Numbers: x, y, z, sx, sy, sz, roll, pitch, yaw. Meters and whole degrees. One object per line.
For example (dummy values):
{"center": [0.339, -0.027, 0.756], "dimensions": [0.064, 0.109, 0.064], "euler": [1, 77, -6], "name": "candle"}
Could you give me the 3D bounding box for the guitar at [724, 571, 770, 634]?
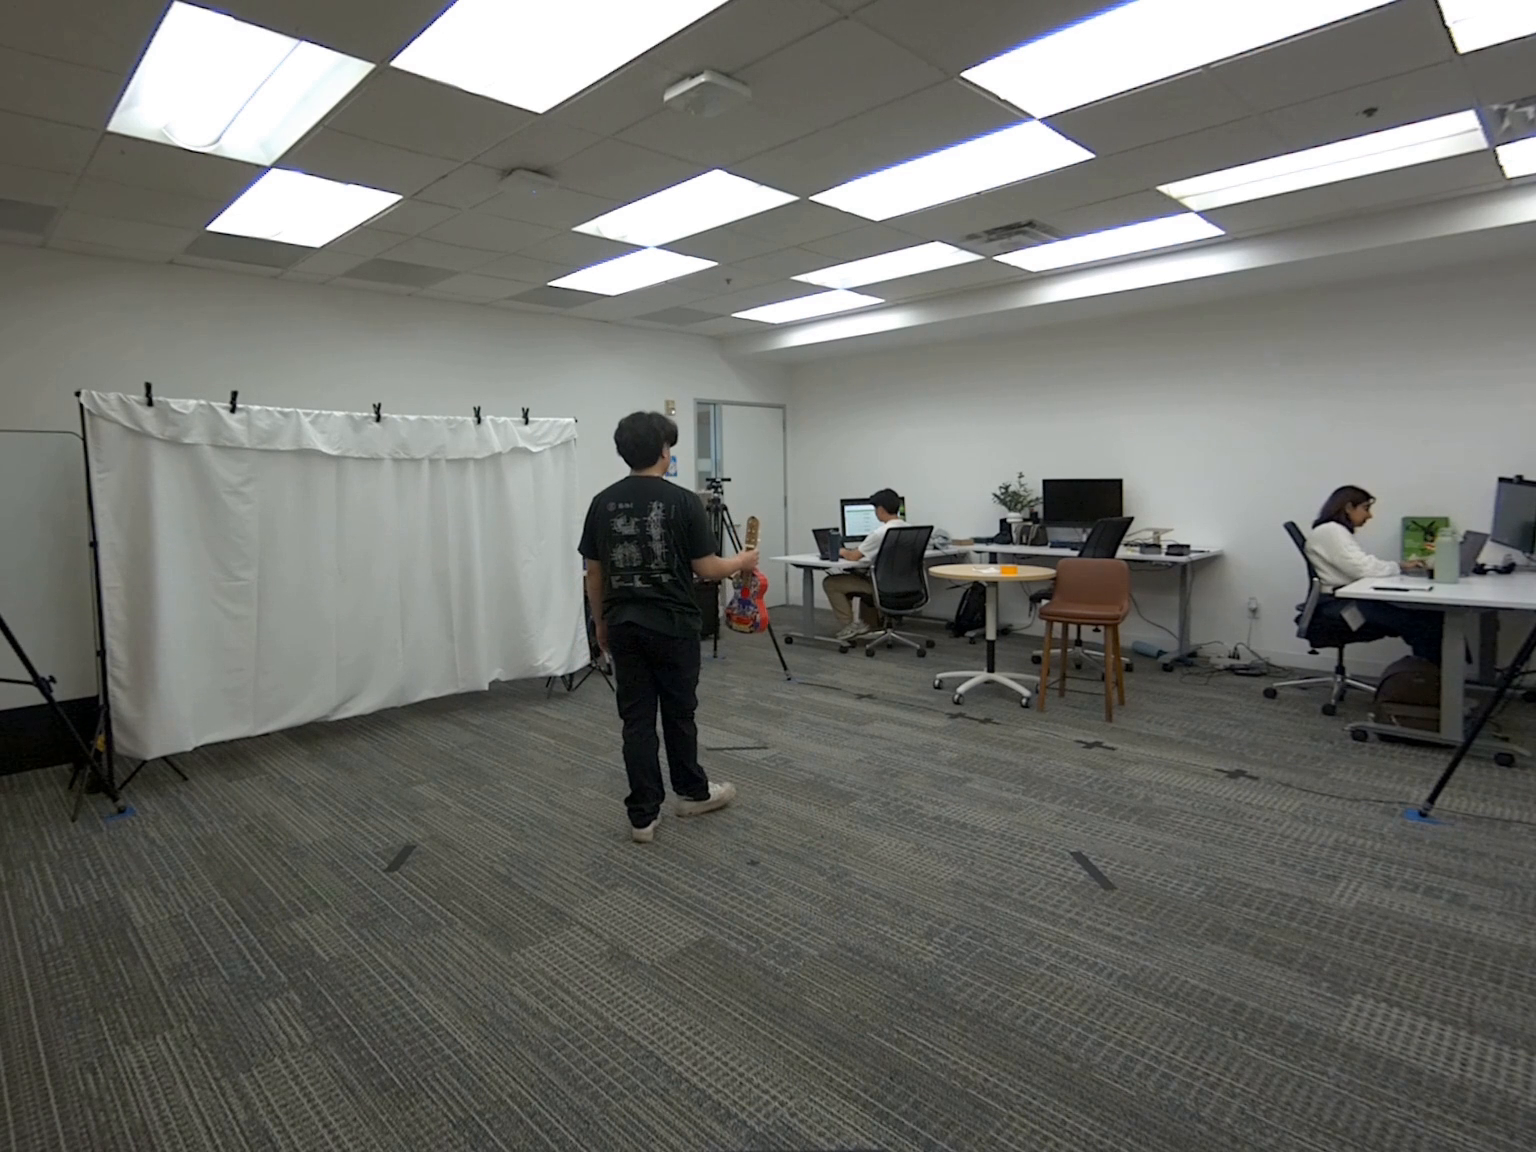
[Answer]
{"center": [-0.054, 0.003, 3.636], "dimensions": [0.199, 0.495, 0.069], "euler": [16, 8, 34], "name": "guitar"}
